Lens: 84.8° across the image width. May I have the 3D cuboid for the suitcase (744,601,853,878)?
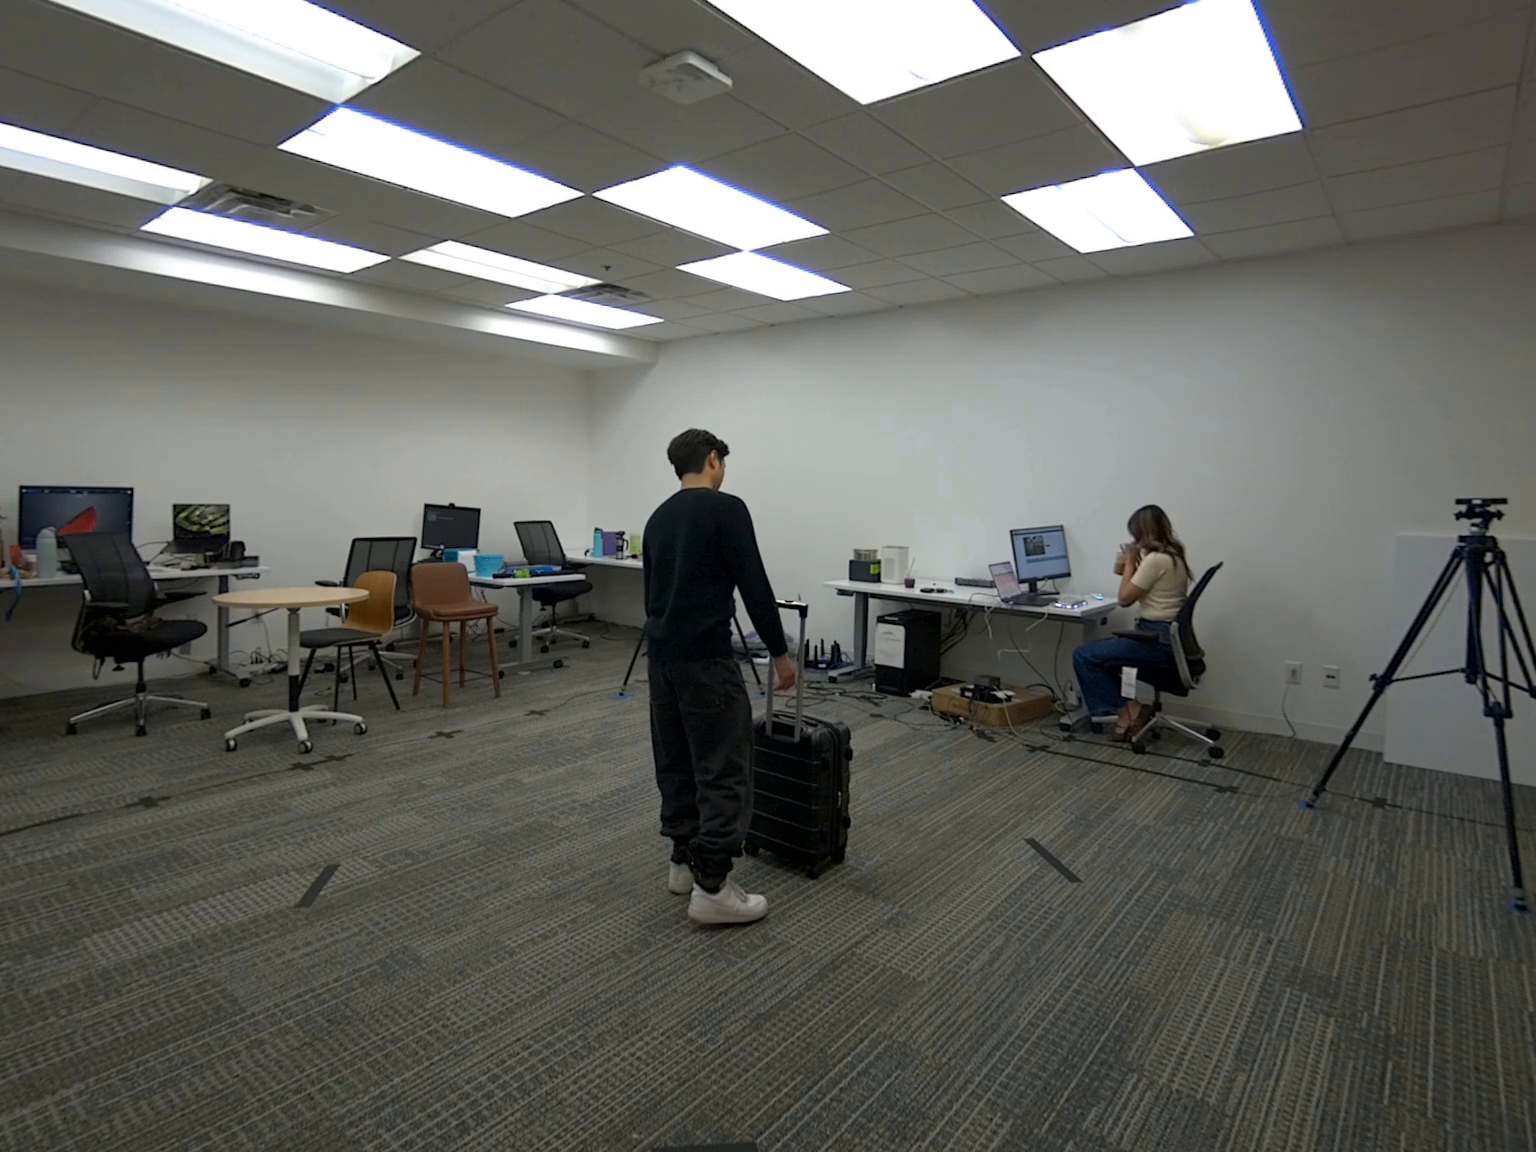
[{"bbox_3d":[0.117,0.588,3.211,0.397,0.977,0.249,5,3,39],"label":"suitcase"}]
